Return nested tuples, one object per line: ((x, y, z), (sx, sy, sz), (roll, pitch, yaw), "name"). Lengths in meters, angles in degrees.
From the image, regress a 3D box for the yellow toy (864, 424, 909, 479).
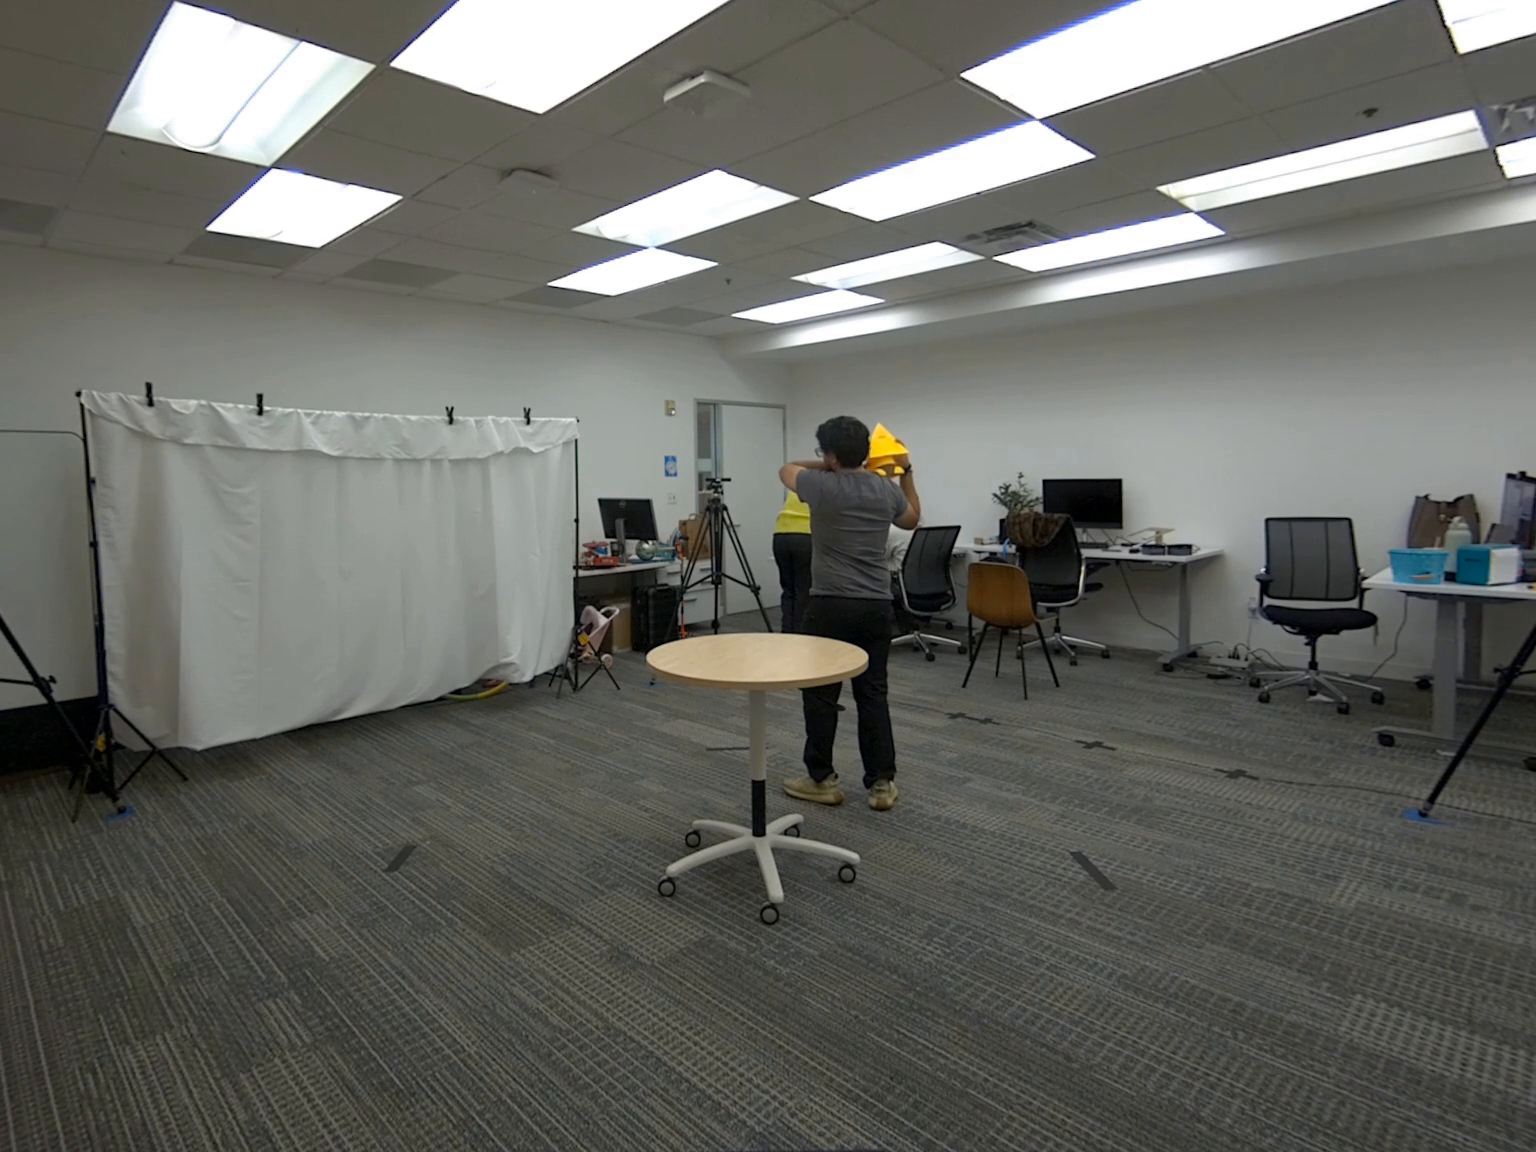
((0.472, -0.540, 3.739), (0.201, 0.232, 0.195), (-9, -5, -24), "yellow toy")
